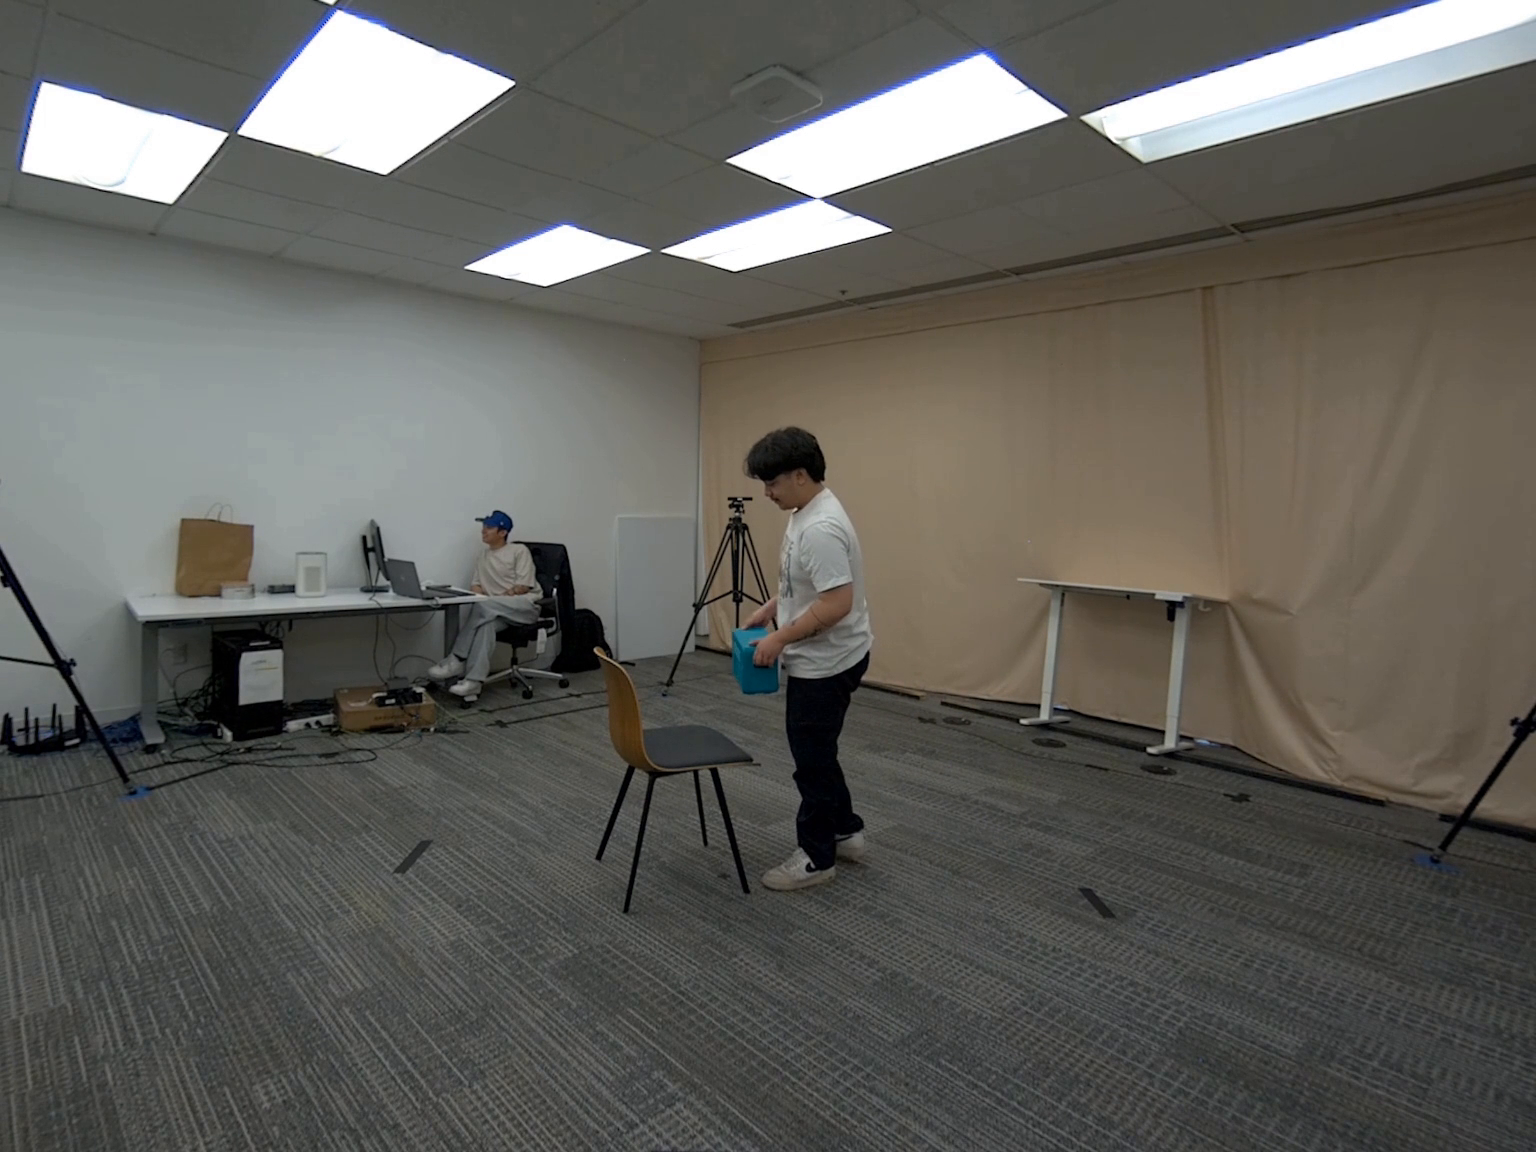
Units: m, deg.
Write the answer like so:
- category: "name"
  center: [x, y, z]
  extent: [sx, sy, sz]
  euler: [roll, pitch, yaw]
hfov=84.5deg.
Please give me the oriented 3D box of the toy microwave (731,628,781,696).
- category: "toy microwave"
  center: [-0.051, 0.311, 3.107]
  extent: [0.152, 0.183, 0.289]
  euler: [-1, 11, -7]
